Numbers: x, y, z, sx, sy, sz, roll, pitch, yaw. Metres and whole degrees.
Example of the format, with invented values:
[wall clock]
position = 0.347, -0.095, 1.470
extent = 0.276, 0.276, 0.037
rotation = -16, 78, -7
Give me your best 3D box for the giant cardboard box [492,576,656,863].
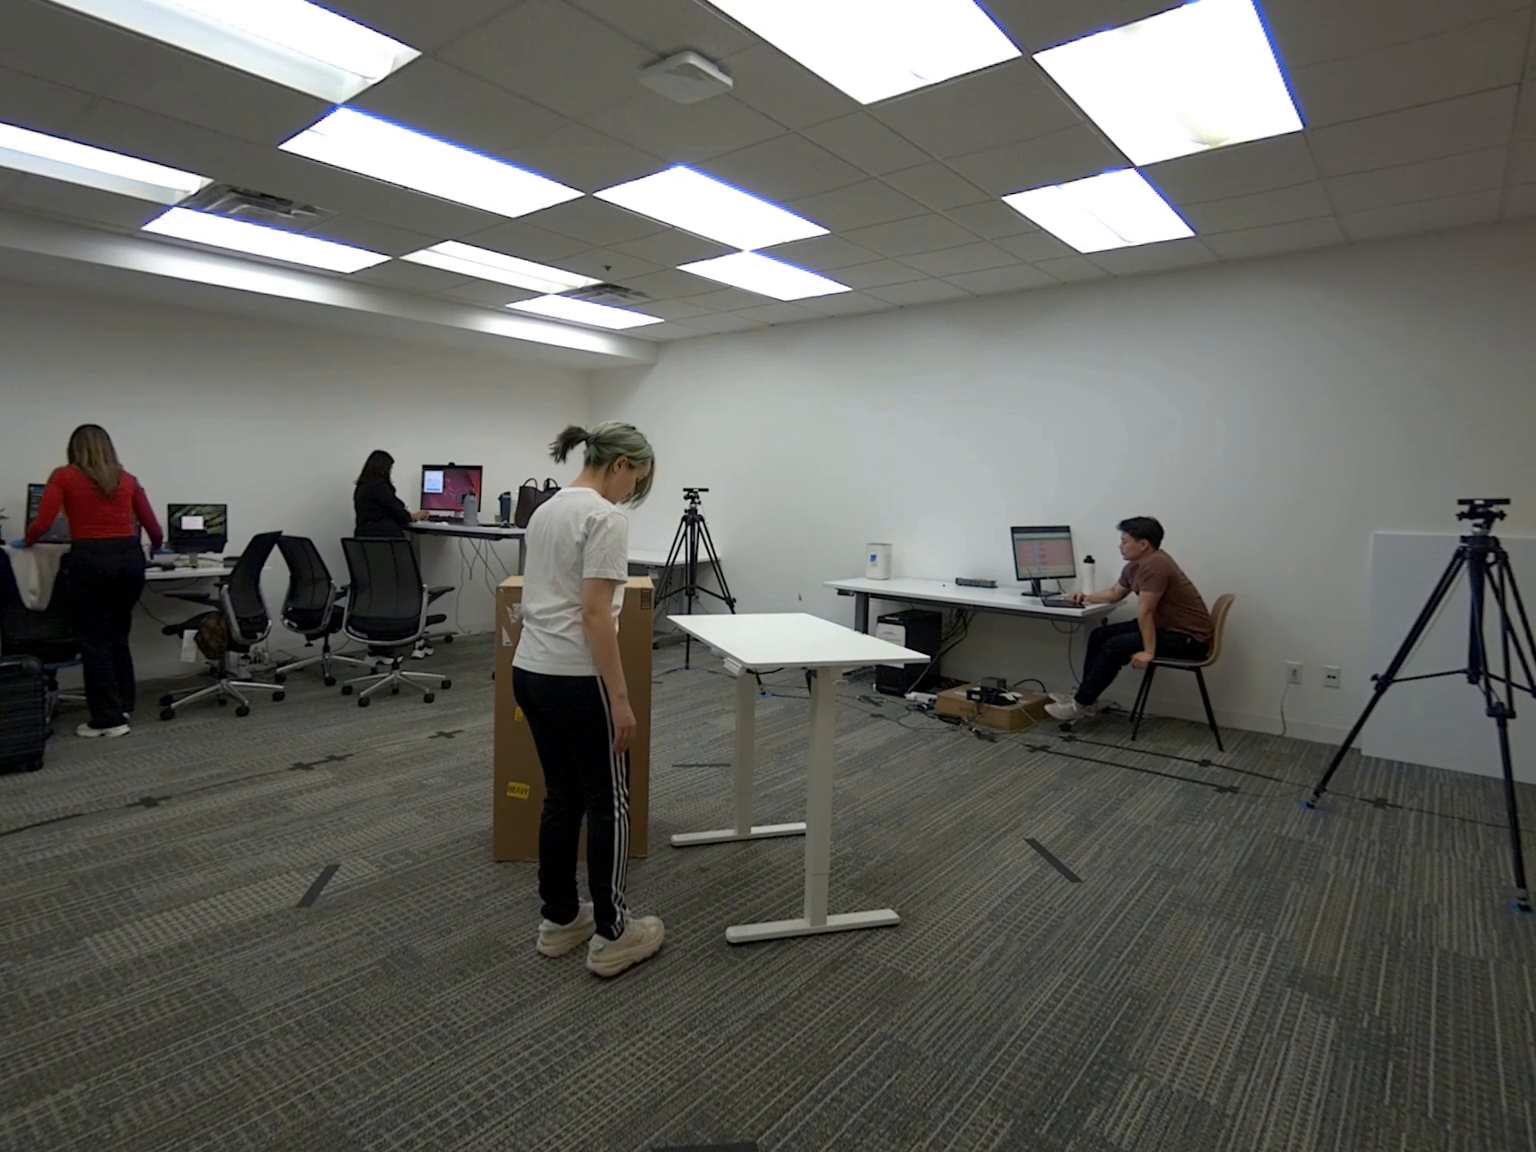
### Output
[giant cardboard box]
position = -0.770, 0.532, 3.353
extent = 0.579, 1.026, 0.451
rotation = 1, 2, -8
